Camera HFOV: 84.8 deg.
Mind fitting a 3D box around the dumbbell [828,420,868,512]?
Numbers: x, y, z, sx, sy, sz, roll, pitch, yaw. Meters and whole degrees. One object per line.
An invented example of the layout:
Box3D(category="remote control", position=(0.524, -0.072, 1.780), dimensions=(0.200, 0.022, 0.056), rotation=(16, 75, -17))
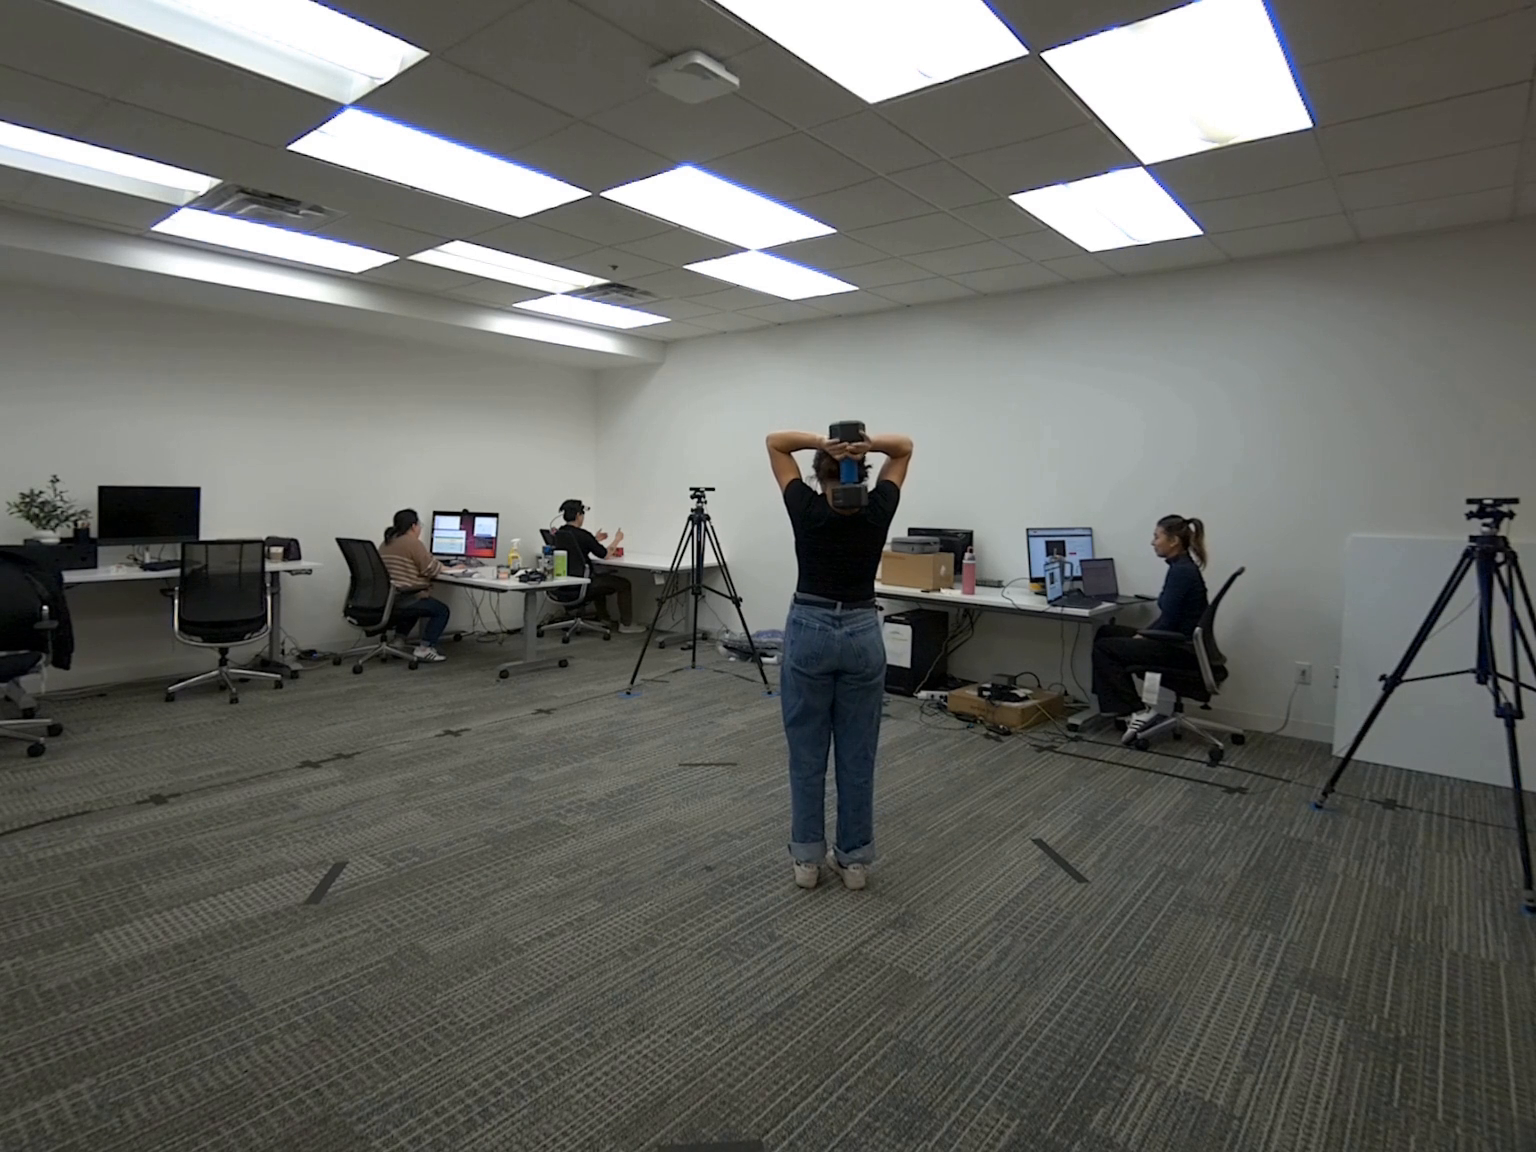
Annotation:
Box3D(category="dumbbell", position=(0.267, -0.386, 2.869), dimensions=(0.111, 0.293, 0.120), rotation=(-3, 1, 28))
